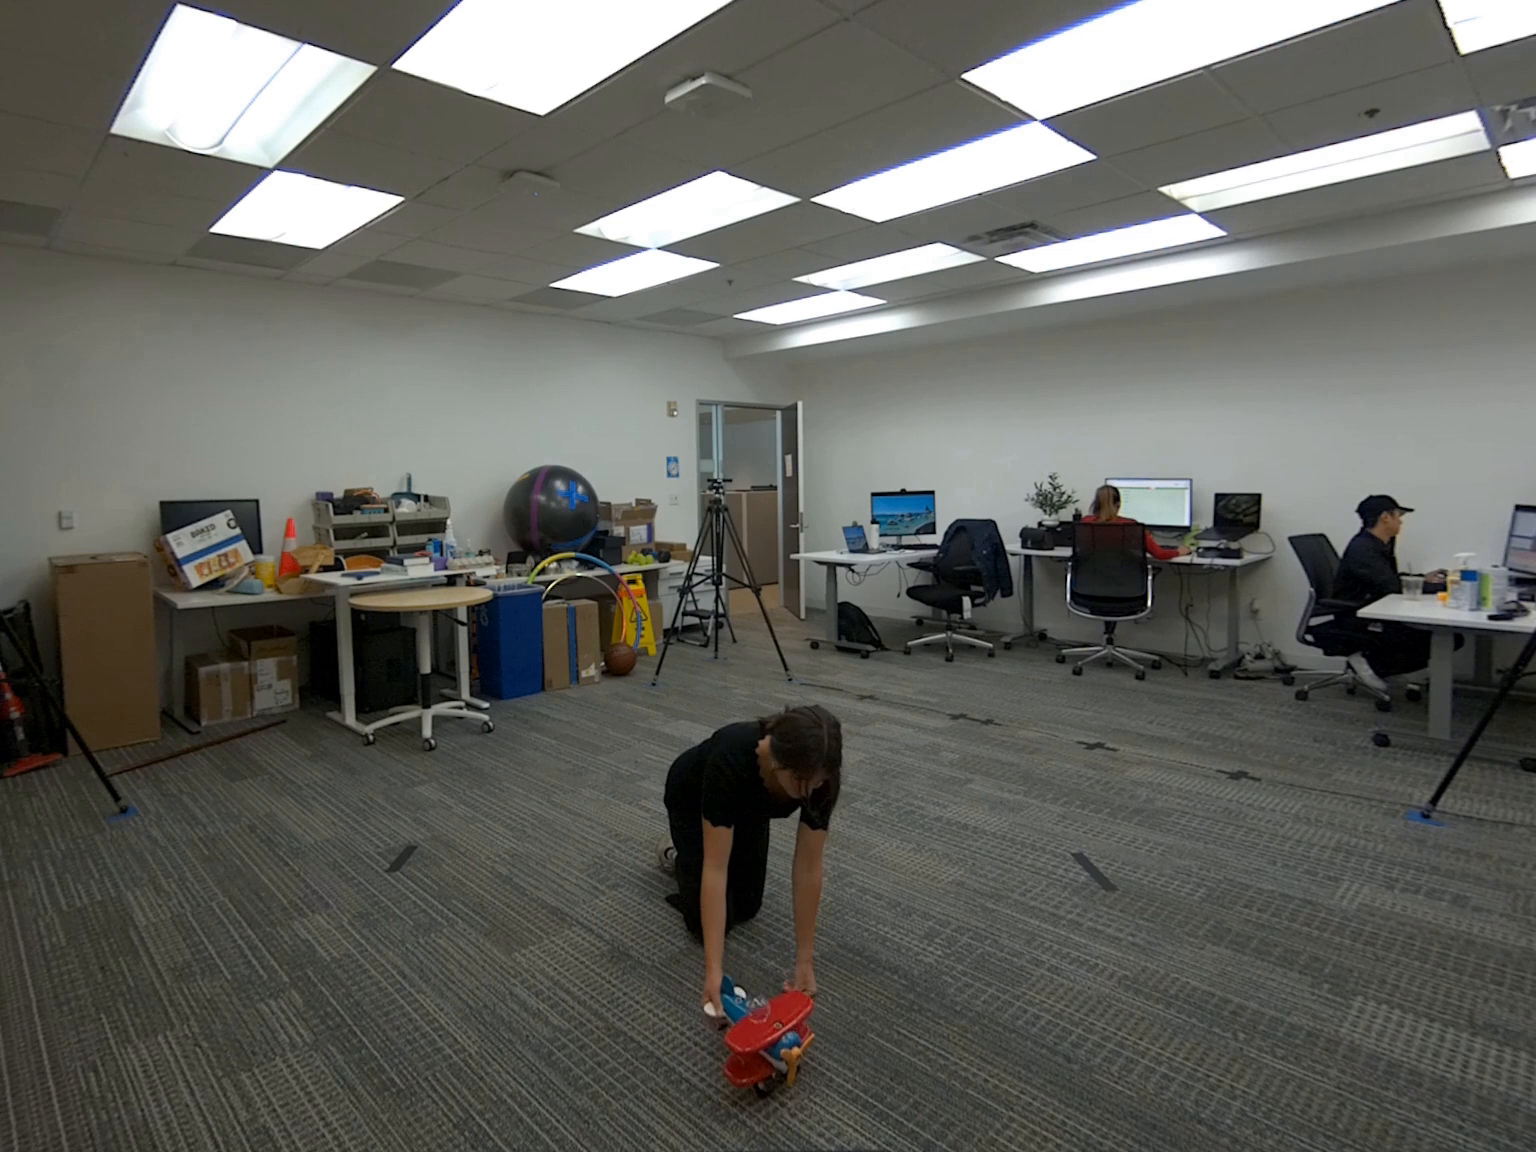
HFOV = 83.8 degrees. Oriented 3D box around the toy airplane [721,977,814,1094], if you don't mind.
[{"bbox_3d":[-0.031,1.085,1.991,0.263,0.154,0.250,20,21,11],"label":"toy airplane"}]
